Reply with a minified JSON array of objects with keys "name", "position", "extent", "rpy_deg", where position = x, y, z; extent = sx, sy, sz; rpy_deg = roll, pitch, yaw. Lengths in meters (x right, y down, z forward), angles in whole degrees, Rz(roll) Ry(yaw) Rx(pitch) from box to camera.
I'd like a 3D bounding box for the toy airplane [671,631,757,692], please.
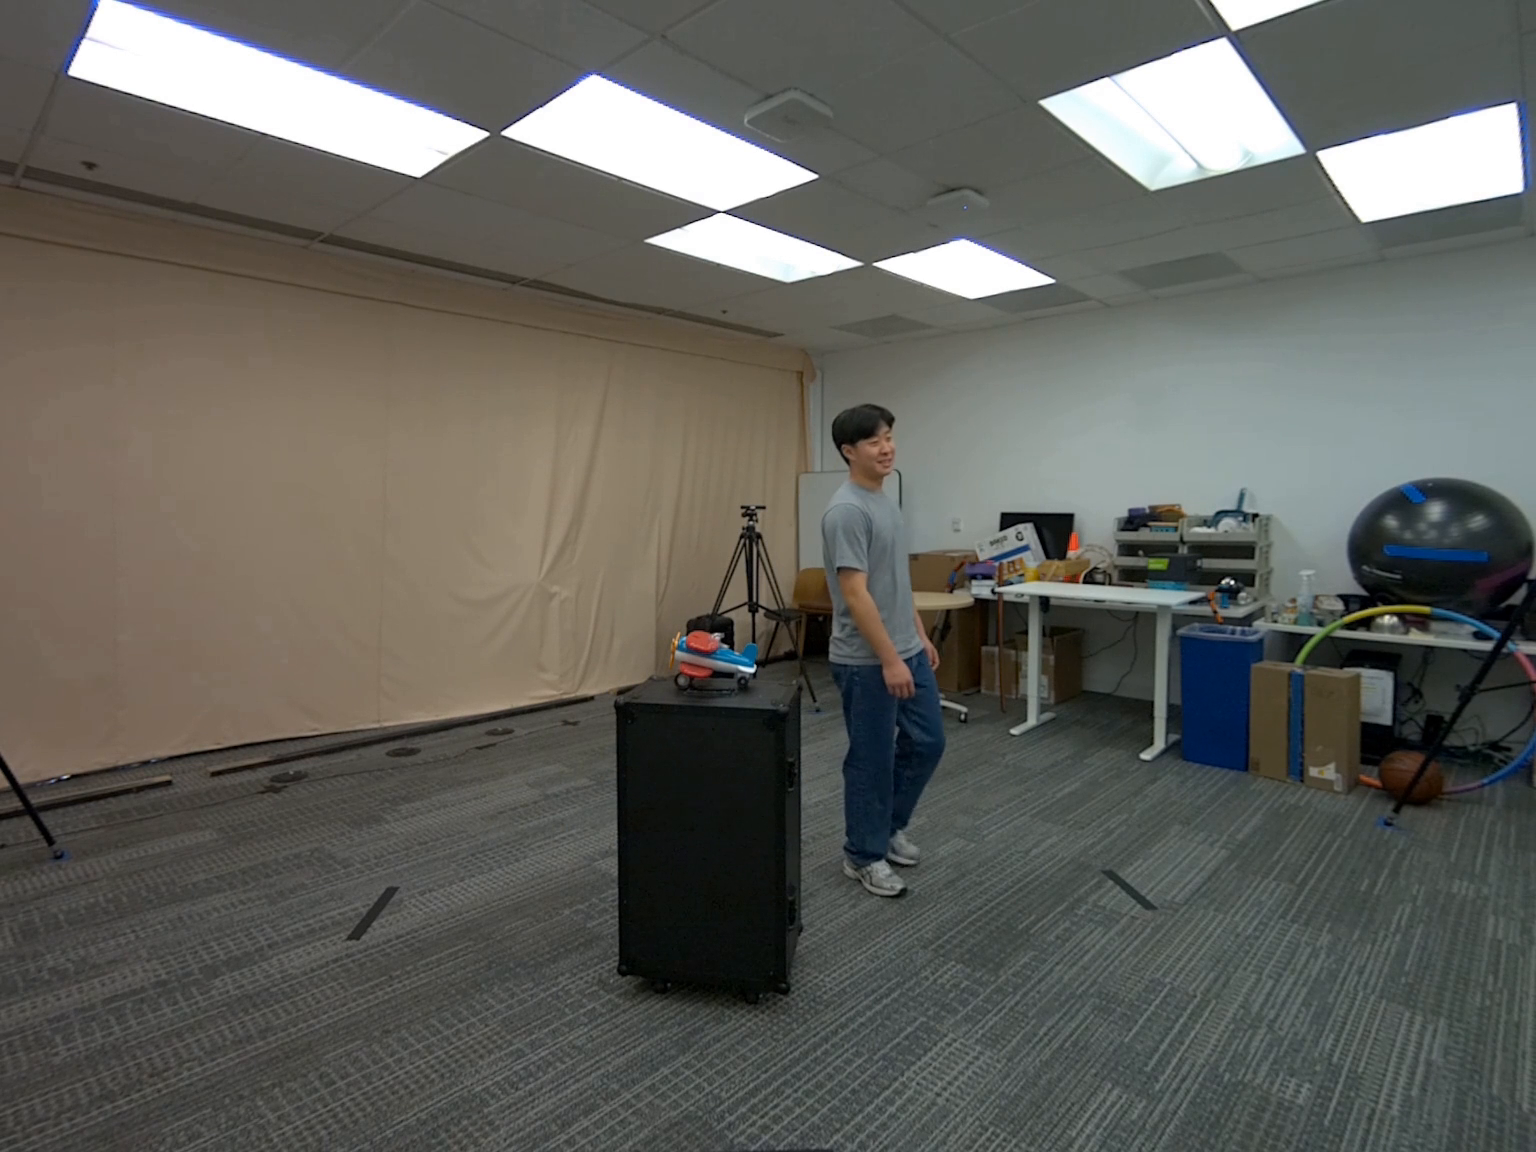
[{"name":"toy airplane","position":[-0.167,0.253,2.549],"extent":[0.253,0.156,0.257],"rpy_deg":[-4,5,-25]}]
